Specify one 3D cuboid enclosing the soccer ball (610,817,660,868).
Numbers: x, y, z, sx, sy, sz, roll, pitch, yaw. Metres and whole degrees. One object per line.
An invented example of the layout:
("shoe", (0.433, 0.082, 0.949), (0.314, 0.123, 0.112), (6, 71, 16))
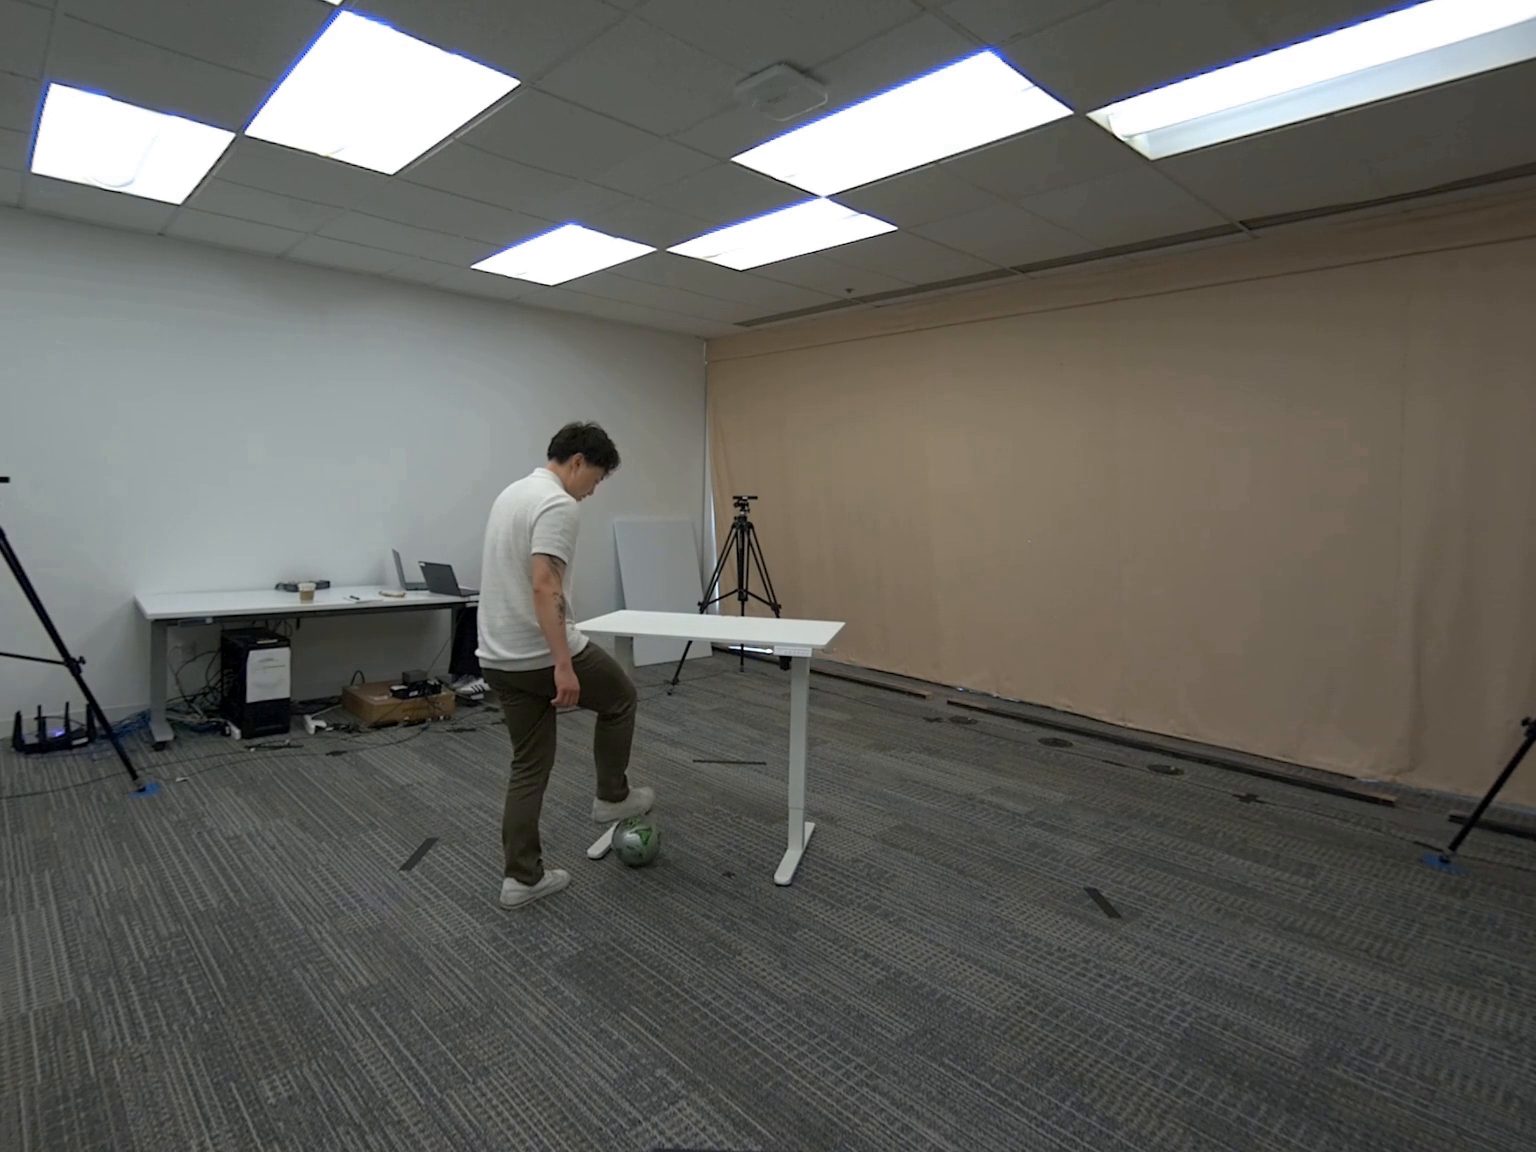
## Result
("soccer ball", (-0.504, 1.000, 3.172), (0.187, 0.187, 0.188), (1, 4, -1))
